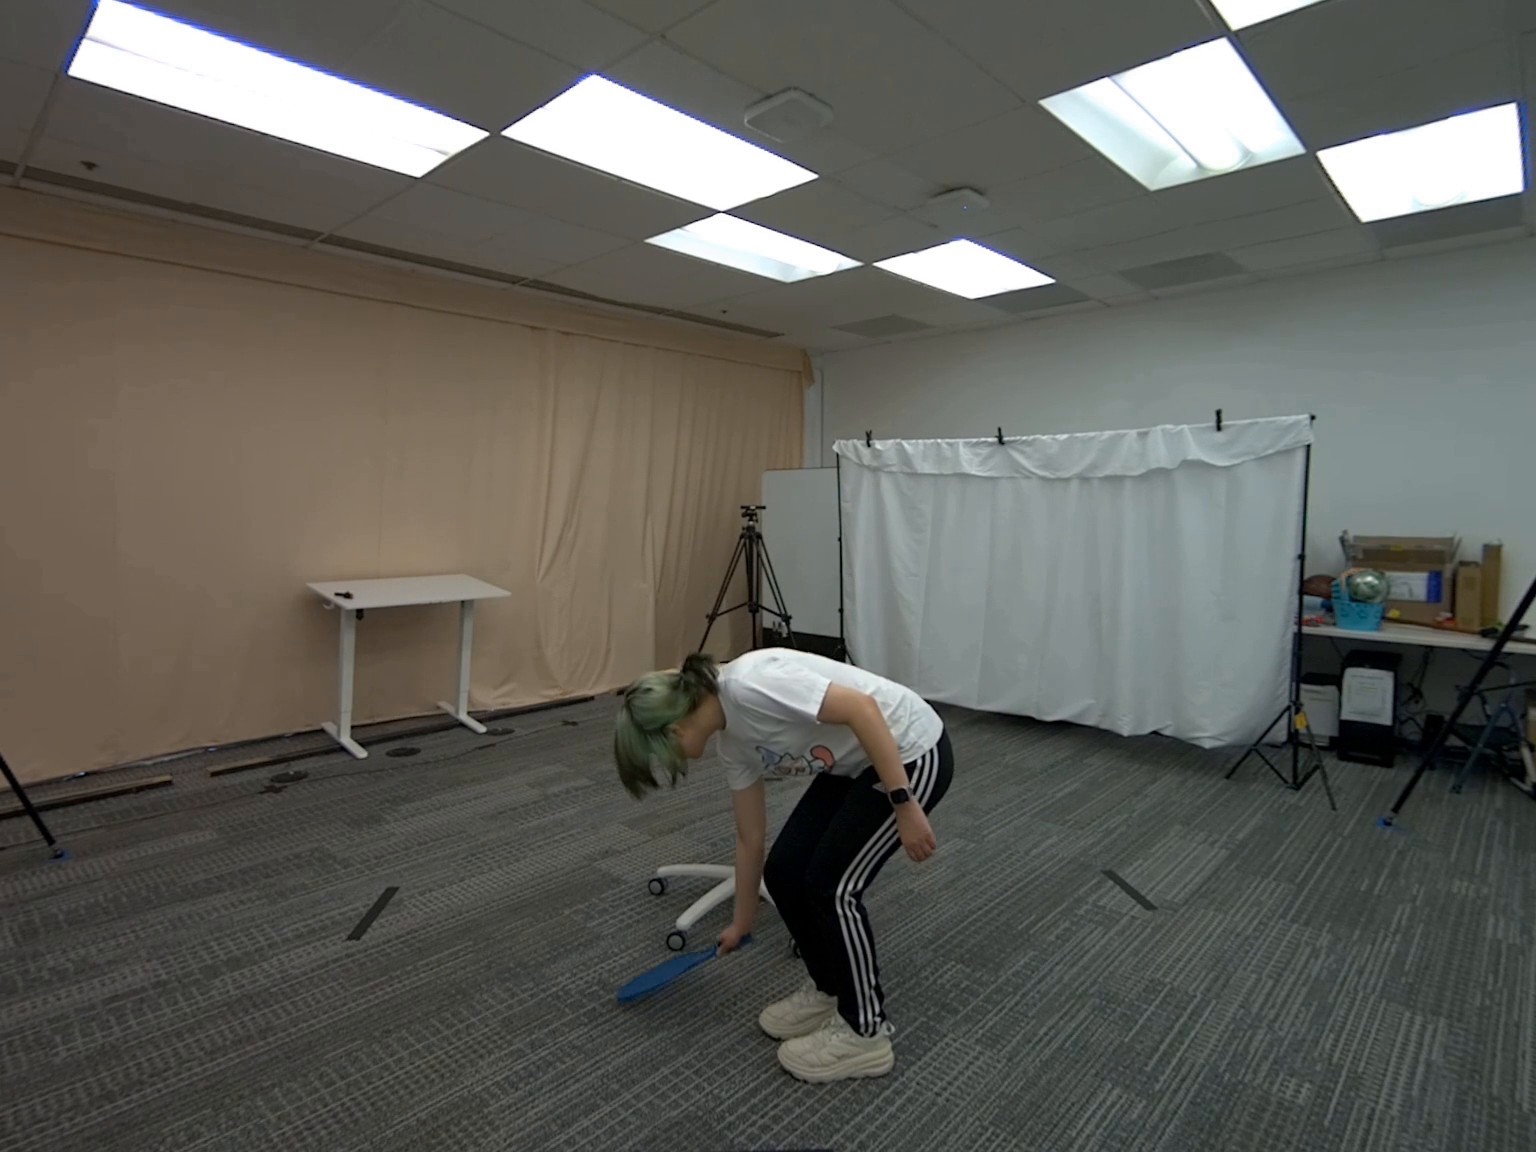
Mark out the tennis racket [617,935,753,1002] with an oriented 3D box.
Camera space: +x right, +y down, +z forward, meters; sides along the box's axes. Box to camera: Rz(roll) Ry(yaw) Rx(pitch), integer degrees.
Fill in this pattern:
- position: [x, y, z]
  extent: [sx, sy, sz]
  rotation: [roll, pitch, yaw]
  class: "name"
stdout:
- position: [-0.241, 1.083, 2.361]
  extent: [0.435, 0.032, 0.210]
  rotation: [-26, -8, 8]
  class: "tennis racket"
